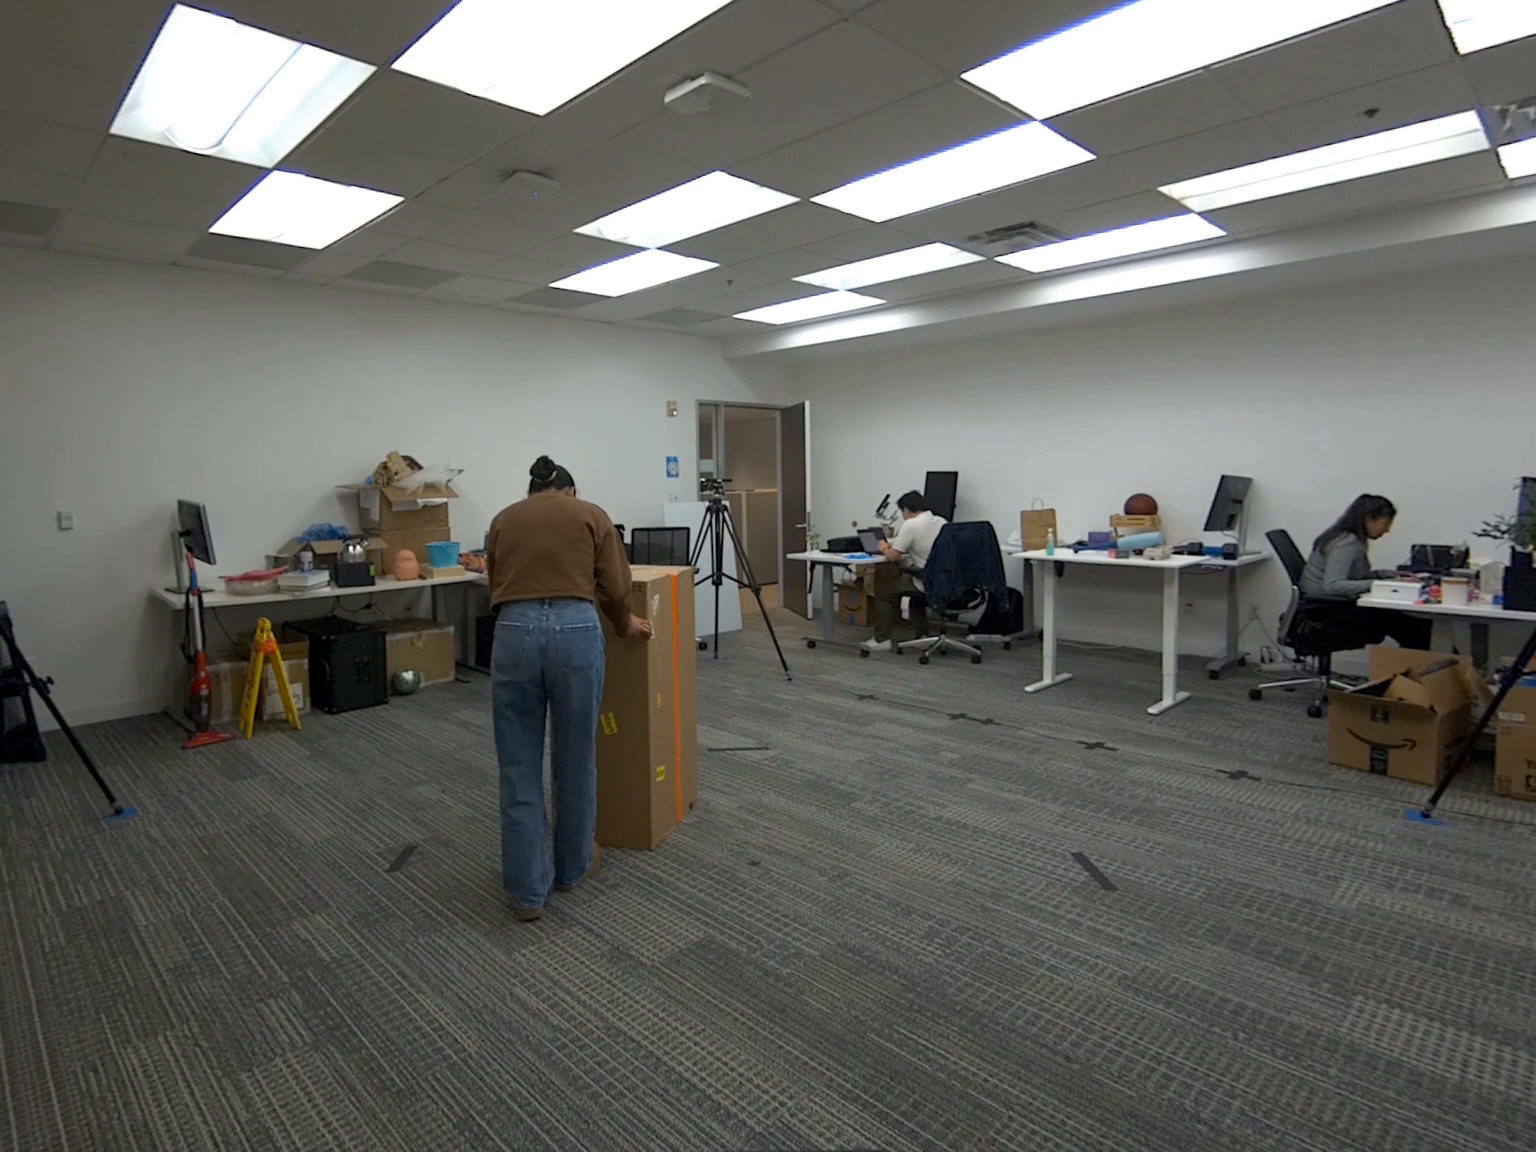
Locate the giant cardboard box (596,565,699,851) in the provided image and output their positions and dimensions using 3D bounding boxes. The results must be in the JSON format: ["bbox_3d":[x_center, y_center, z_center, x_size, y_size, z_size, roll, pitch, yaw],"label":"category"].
[{"bbox_3d":[-0.574,0.496,3.524,0.433,1.022,0.570,1,4,15],"label":"giant cardboard box"}]
